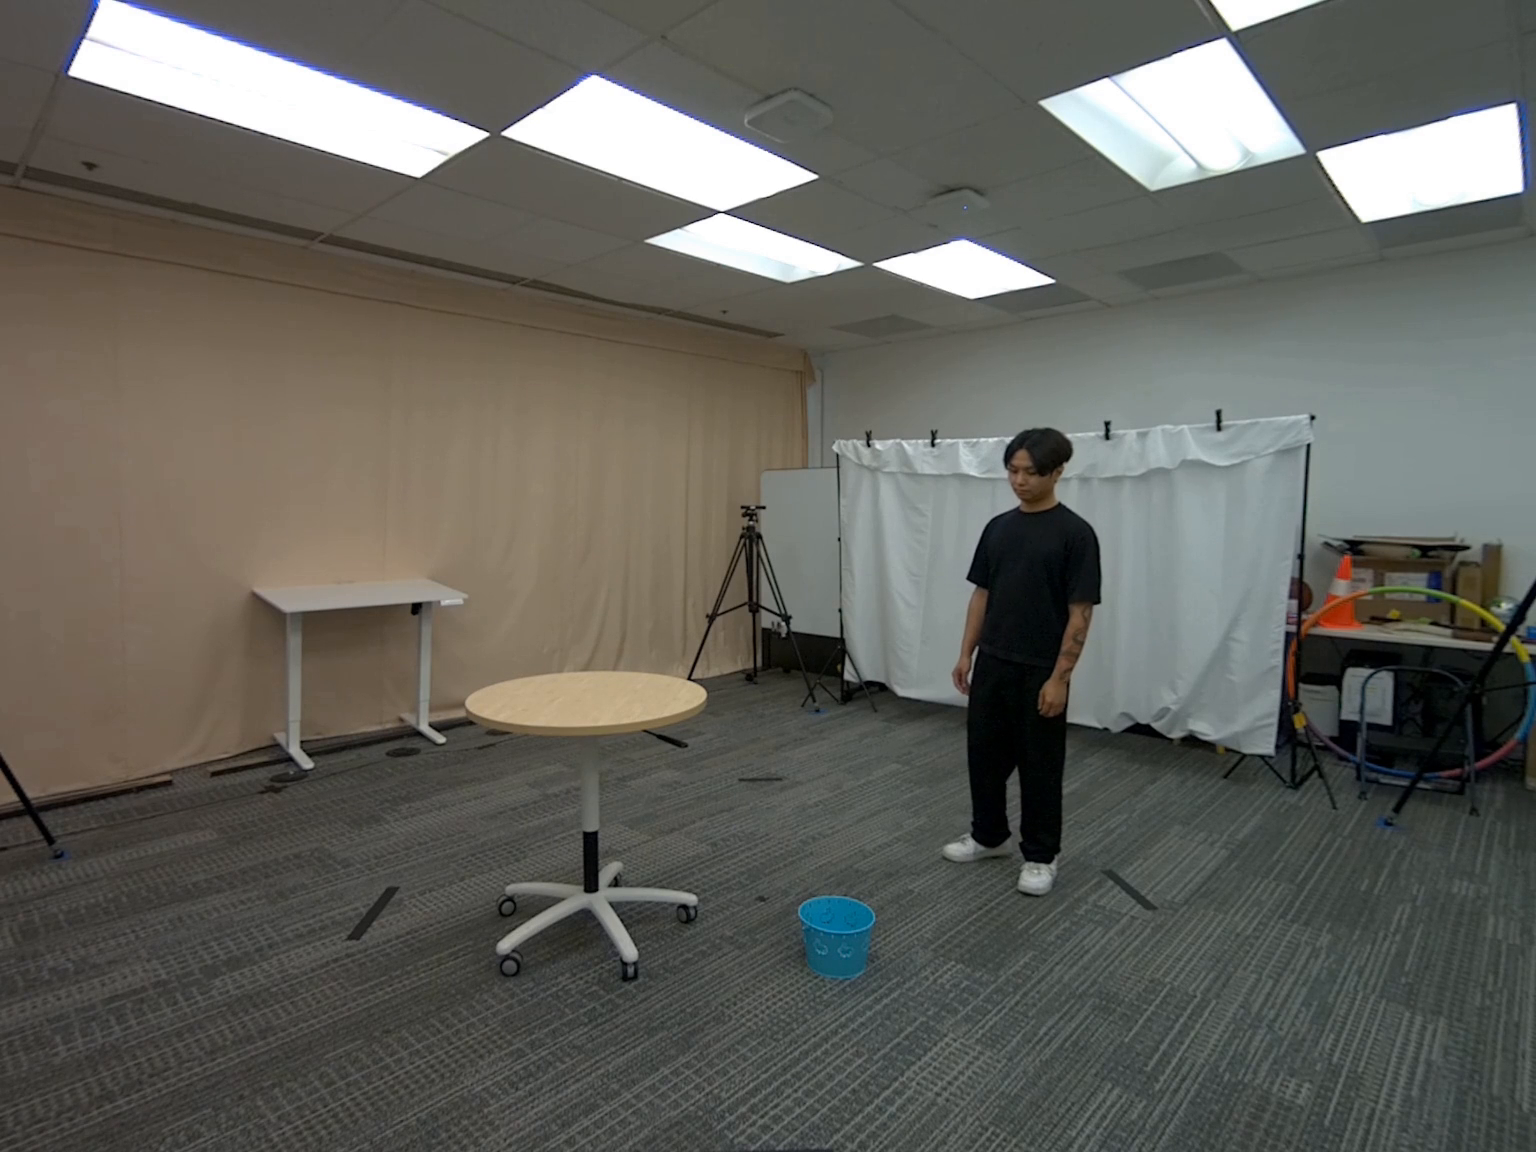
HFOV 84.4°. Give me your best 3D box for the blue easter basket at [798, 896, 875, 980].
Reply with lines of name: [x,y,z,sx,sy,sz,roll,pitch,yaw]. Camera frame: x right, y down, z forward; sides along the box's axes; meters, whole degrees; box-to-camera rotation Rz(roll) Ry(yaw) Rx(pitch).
blue easter basket: [0.214,1.100,2.566,0.243,0.155,0.244,0,4,-2]
